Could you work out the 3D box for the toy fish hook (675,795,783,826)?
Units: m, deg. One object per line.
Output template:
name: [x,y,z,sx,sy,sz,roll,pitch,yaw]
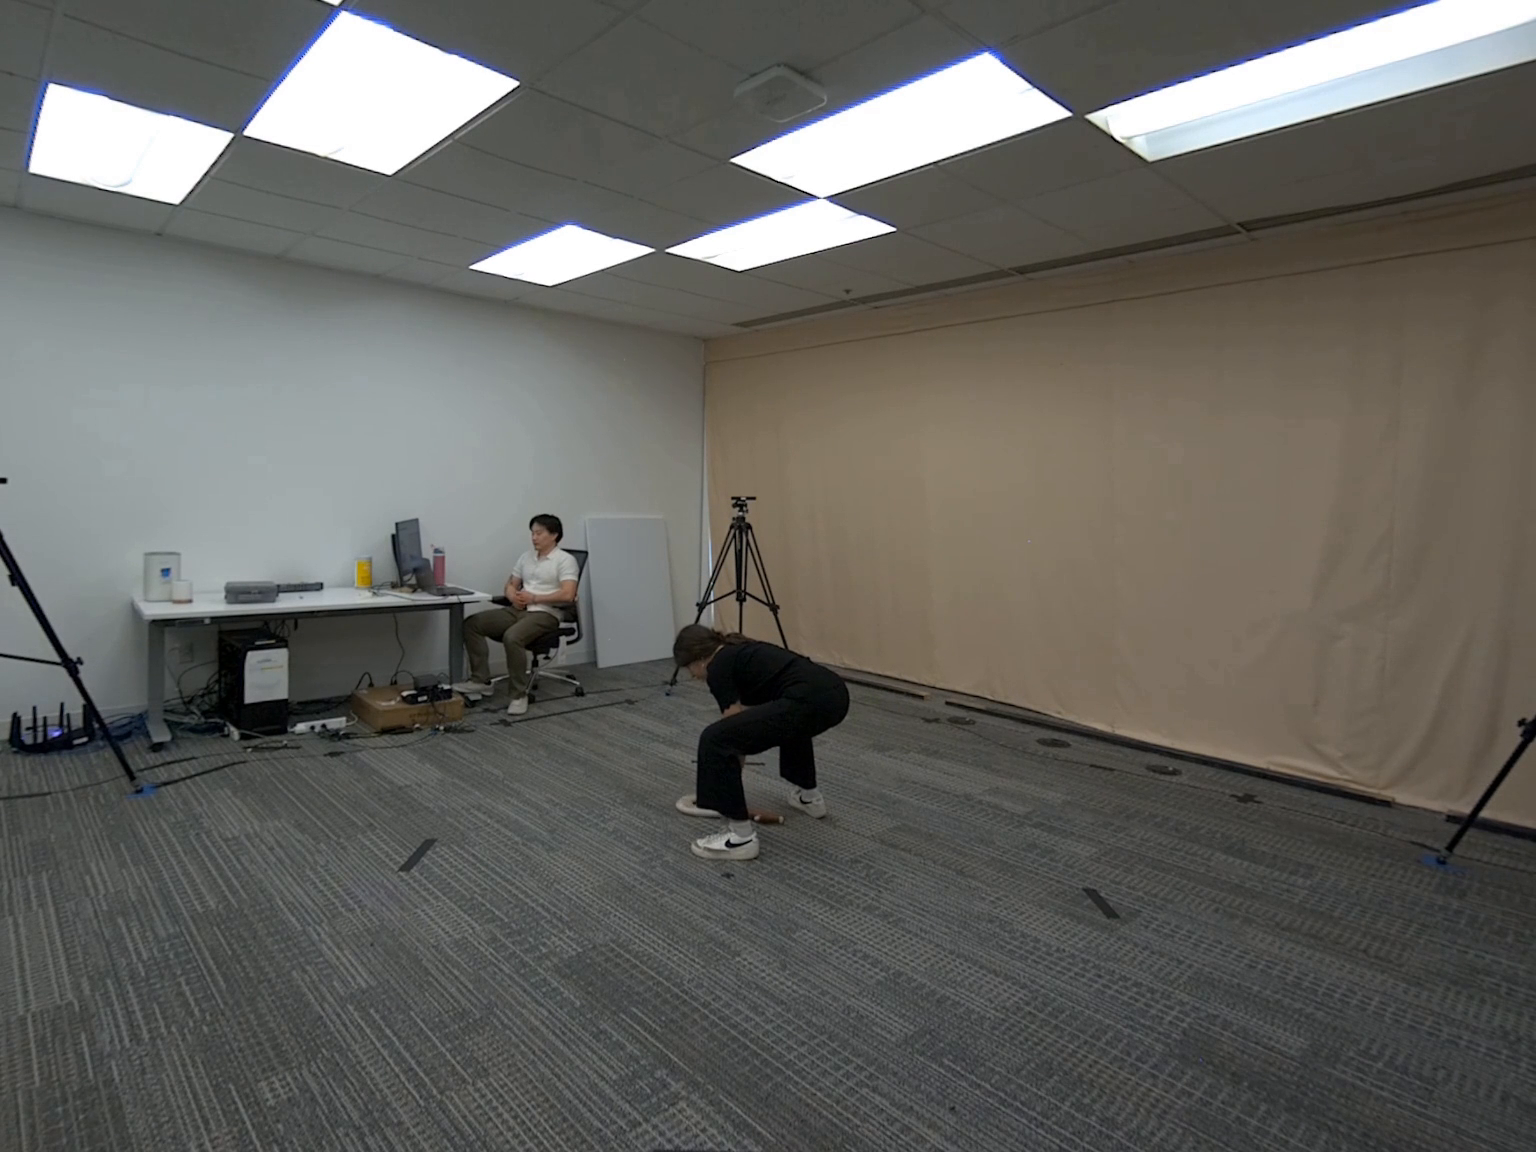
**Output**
toy fish hook: [-0.165,1.024,3.724,0.514,0.048,0.223,3,10,17]
